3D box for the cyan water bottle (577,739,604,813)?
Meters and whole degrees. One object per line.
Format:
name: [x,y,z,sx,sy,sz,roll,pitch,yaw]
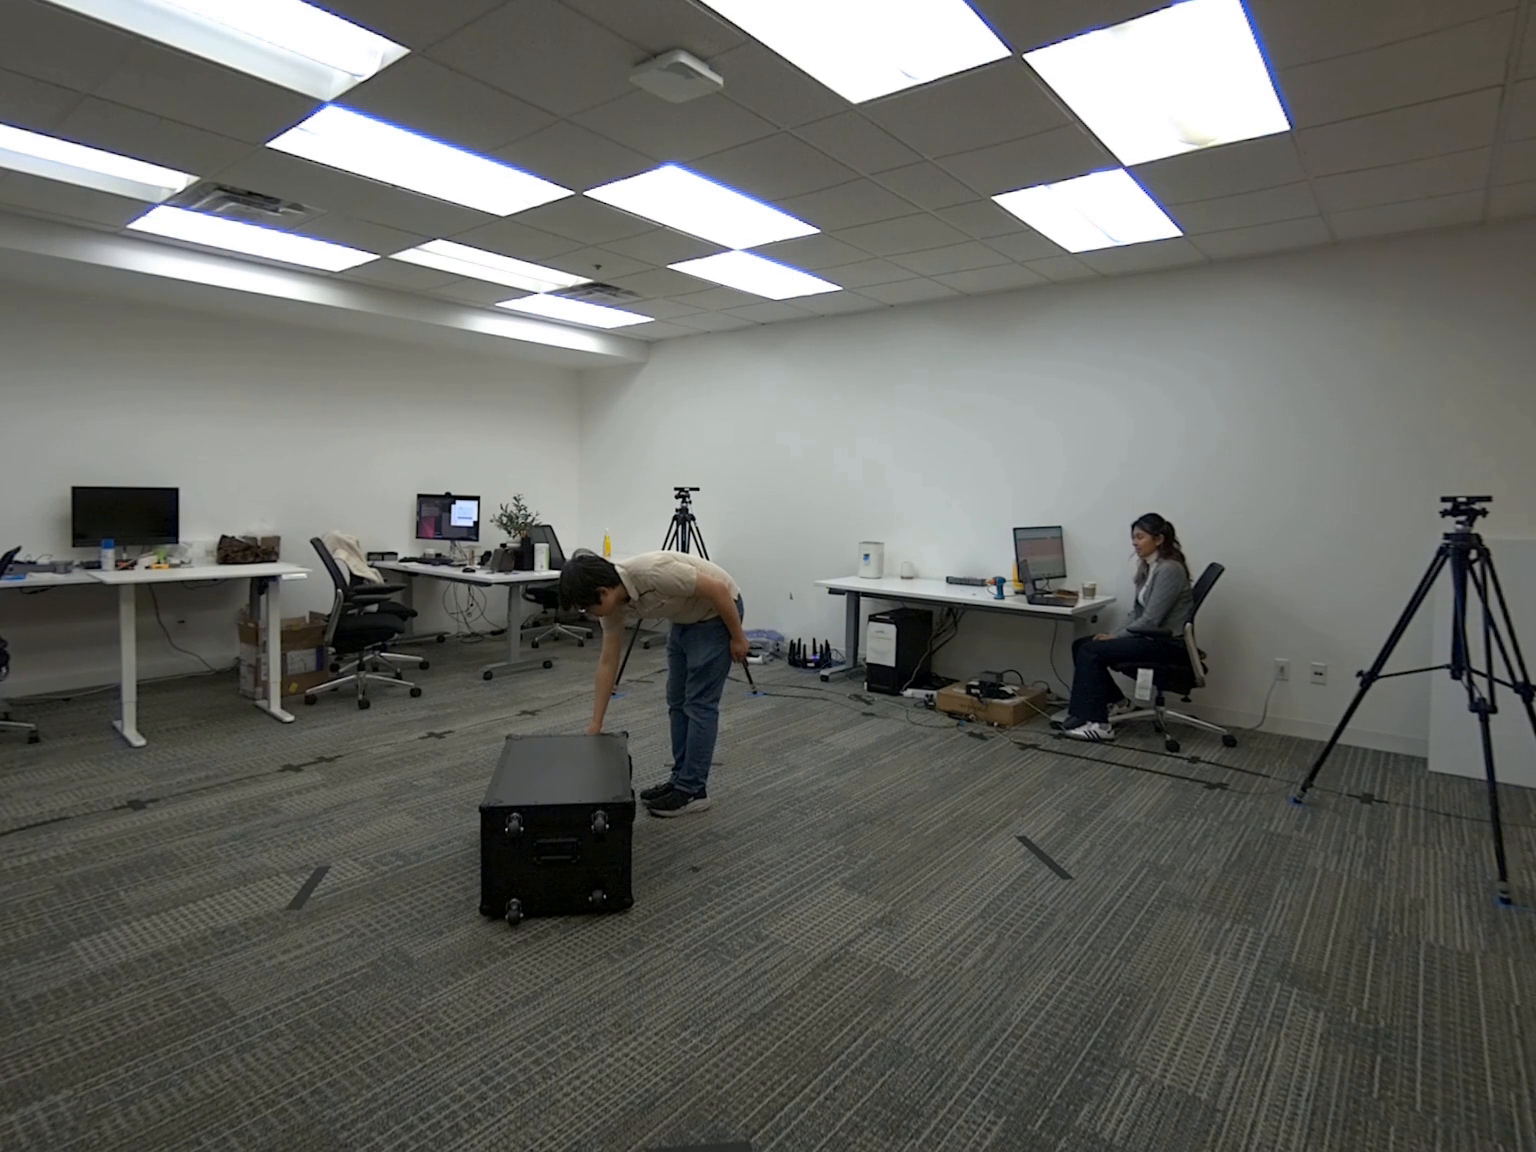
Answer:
cyan water bottle: [-0.770,0.861,3.634,0.092,0.282,0.093,-1,4,-2]
